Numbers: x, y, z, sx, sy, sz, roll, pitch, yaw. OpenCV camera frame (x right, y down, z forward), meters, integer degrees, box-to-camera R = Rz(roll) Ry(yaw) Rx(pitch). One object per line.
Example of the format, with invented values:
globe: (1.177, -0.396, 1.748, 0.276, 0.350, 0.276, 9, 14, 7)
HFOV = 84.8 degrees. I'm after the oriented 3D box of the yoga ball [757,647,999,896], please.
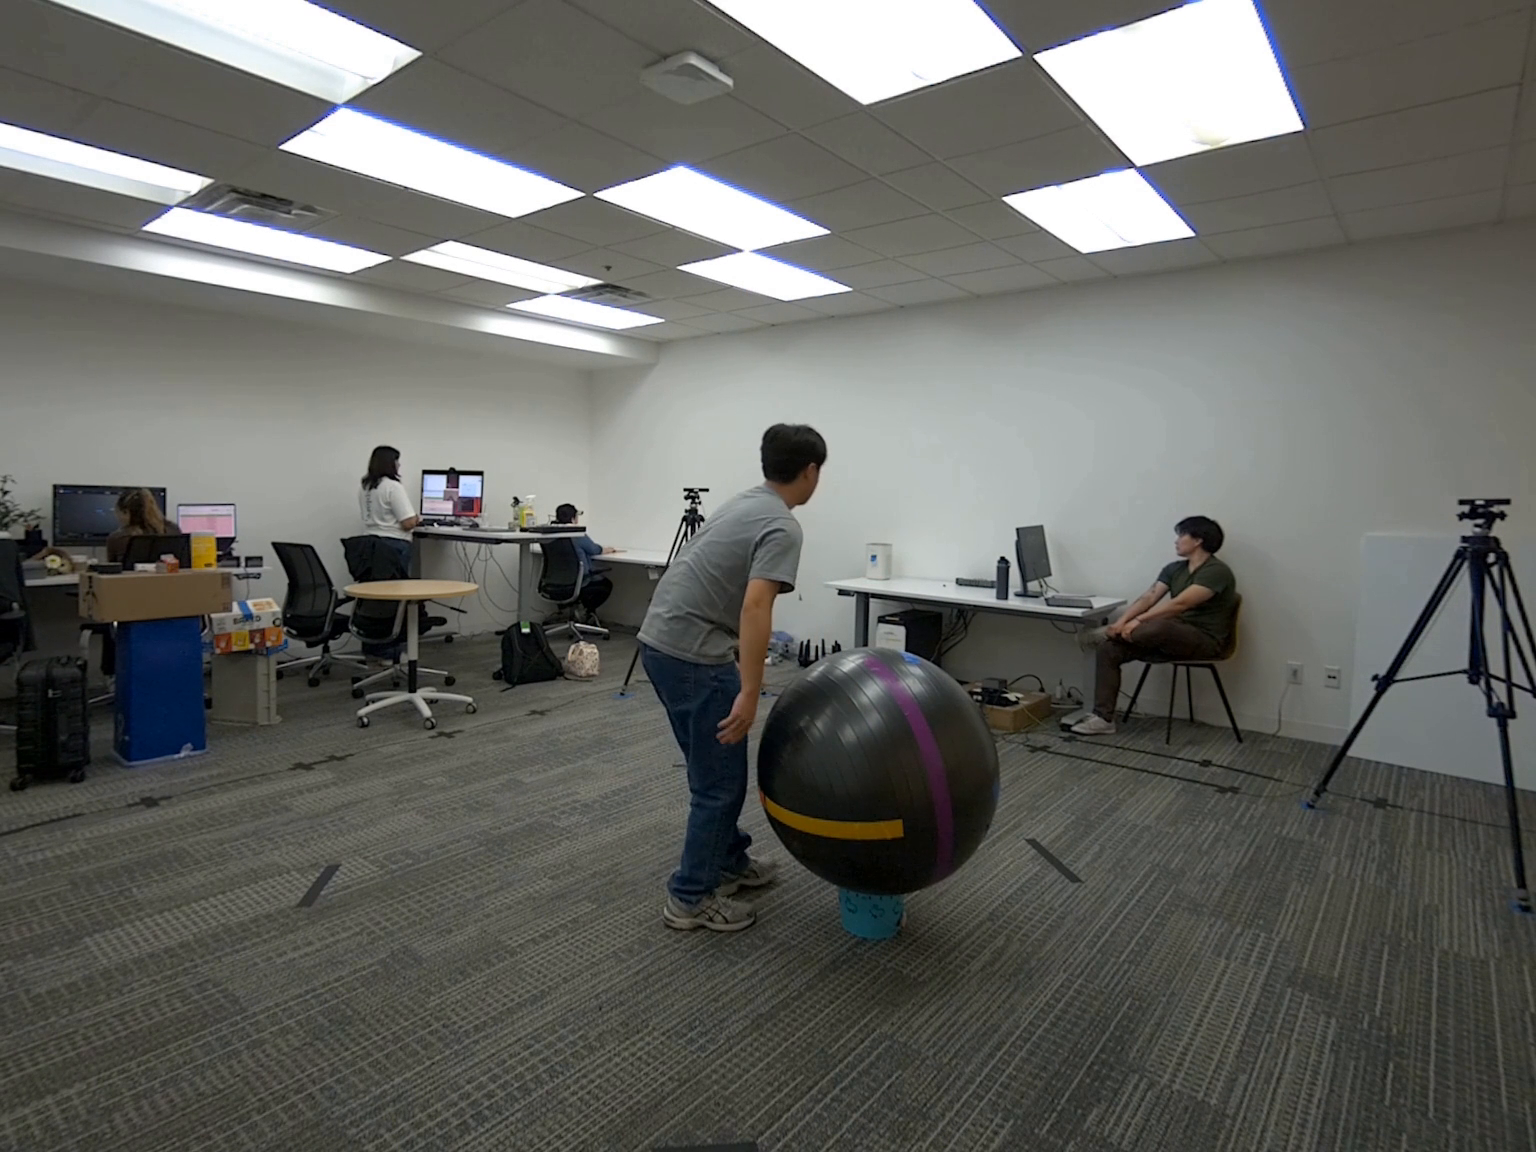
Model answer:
yoga ball: (0.332, 0.613, 2.712, 0.757, 0.756, 0.761, 1, 4, -2)
